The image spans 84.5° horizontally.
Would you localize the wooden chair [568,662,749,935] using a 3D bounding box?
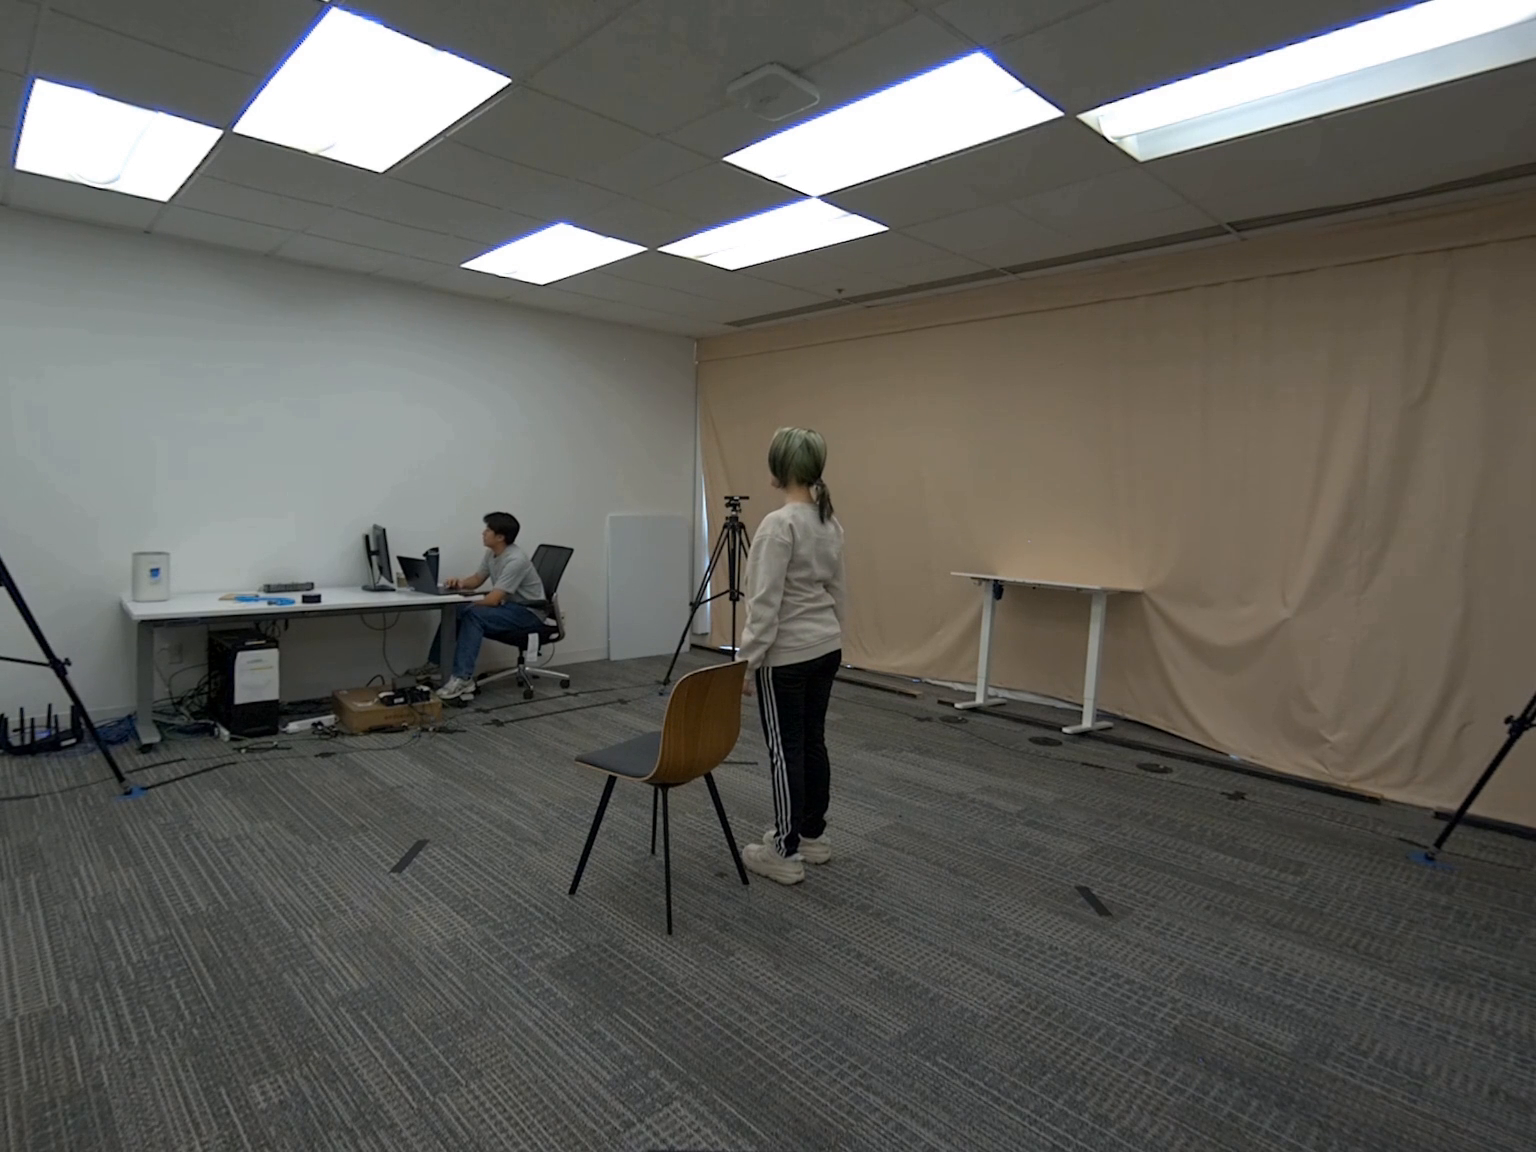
[{"bbox_3d":[-0.384,0.686,2.948,0.536,0.874,0.468,8,7,34],"label":"wooden chair"}]
